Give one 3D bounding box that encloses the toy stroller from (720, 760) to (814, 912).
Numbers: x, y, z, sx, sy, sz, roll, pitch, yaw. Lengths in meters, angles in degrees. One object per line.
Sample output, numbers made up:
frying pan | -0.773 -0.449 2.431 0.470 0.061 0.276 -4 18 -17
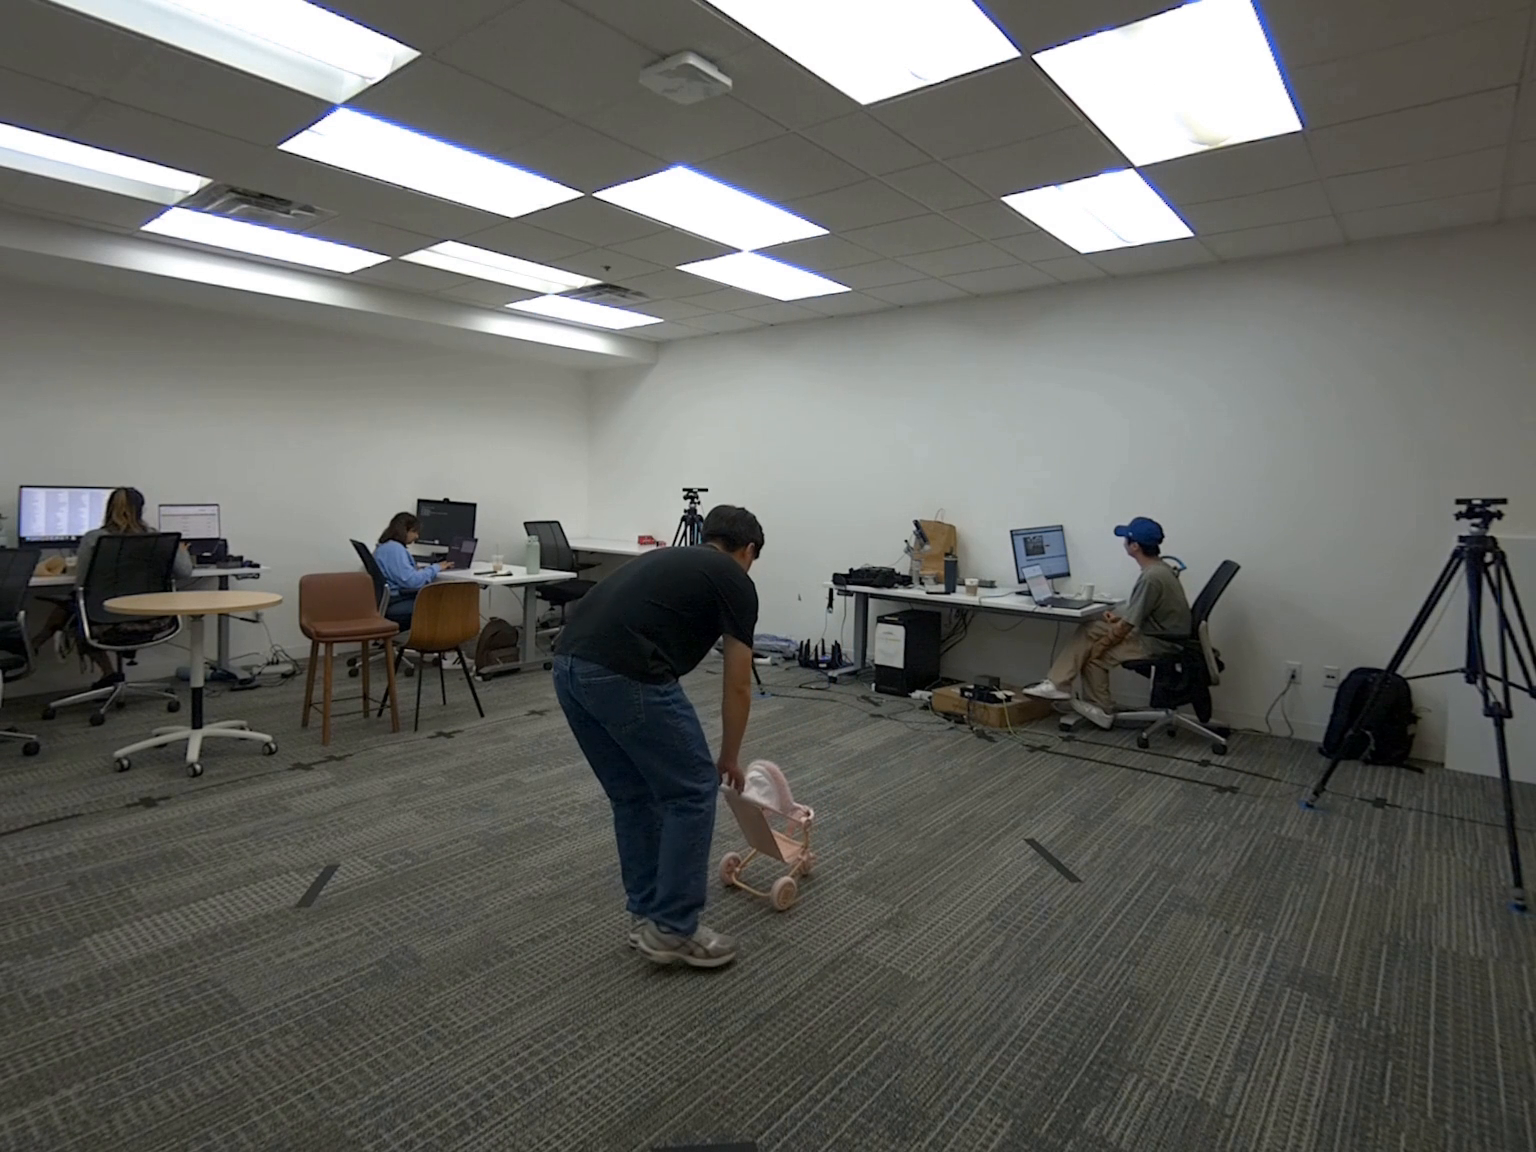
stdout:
toy stroller | -0.003 0.864 2.939 0.335 0.526 0.291 -23 18 -38
